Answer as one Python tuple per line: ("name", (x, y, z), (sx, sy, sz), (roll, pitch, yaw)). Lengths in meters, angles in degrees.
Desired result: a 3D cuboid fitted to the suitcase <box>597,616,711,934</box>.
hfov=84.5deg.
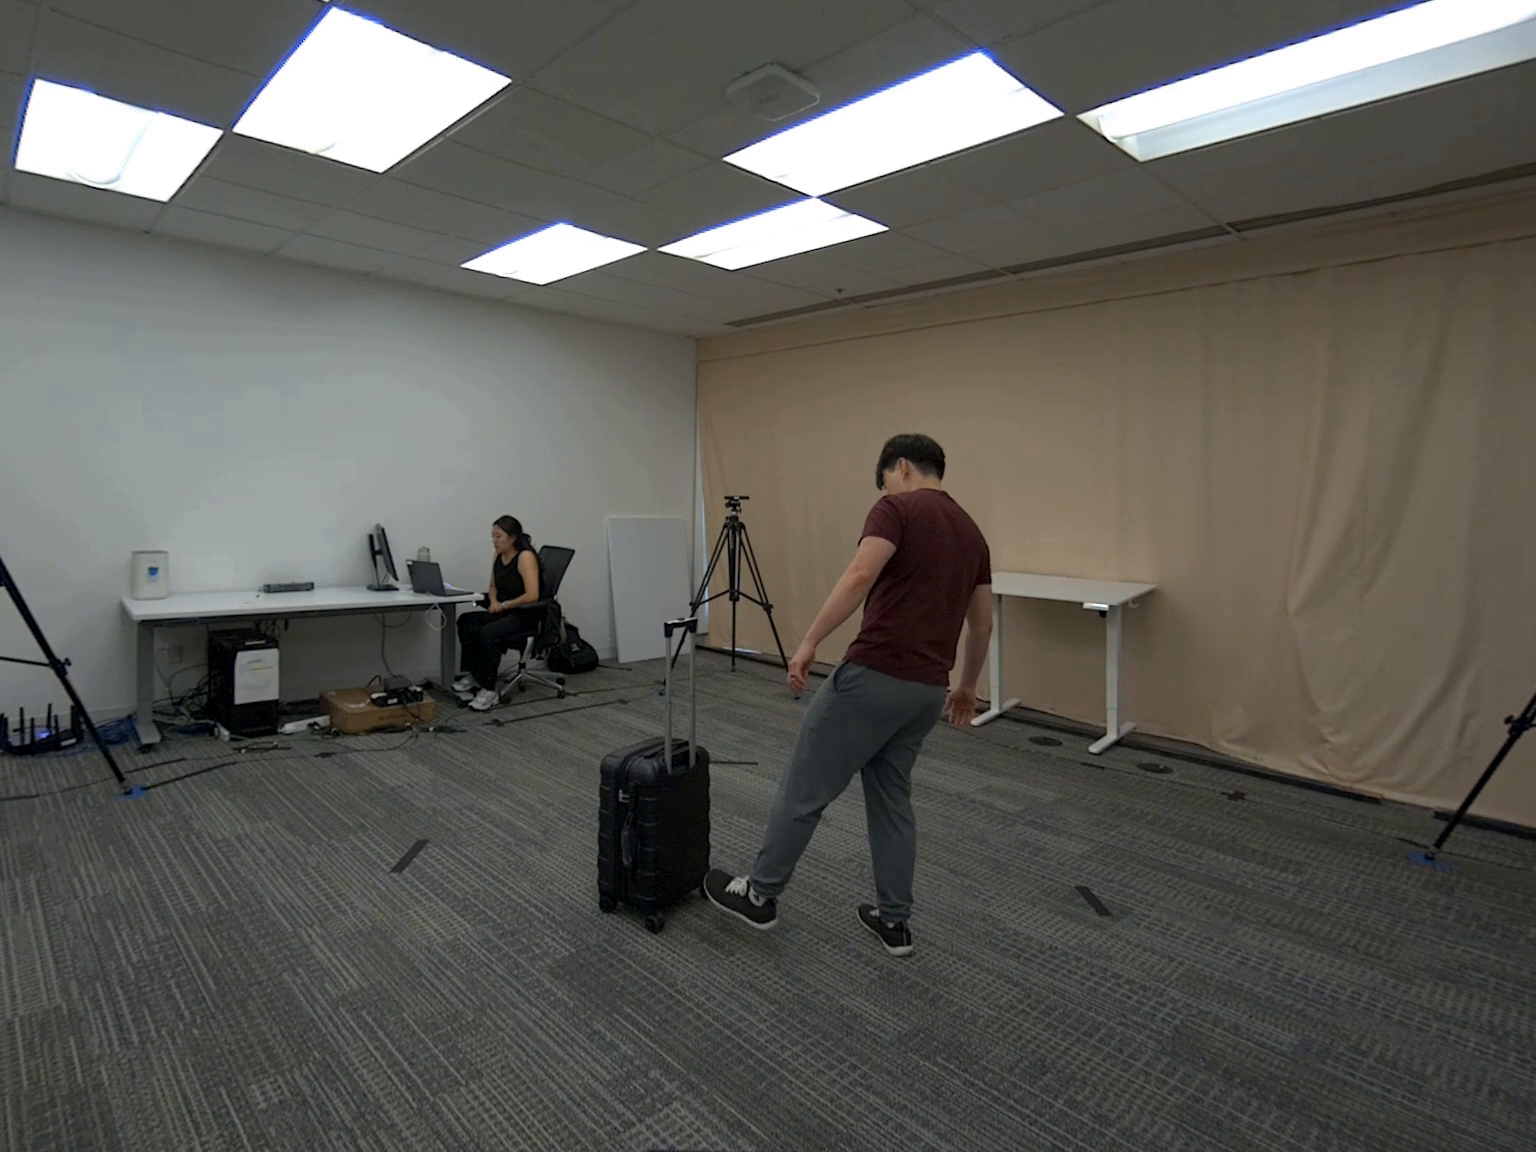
("suitcase", (-0.398, 0.644, 2.863), (0.263, 0.977, 0.376), (0, 3, 33))
